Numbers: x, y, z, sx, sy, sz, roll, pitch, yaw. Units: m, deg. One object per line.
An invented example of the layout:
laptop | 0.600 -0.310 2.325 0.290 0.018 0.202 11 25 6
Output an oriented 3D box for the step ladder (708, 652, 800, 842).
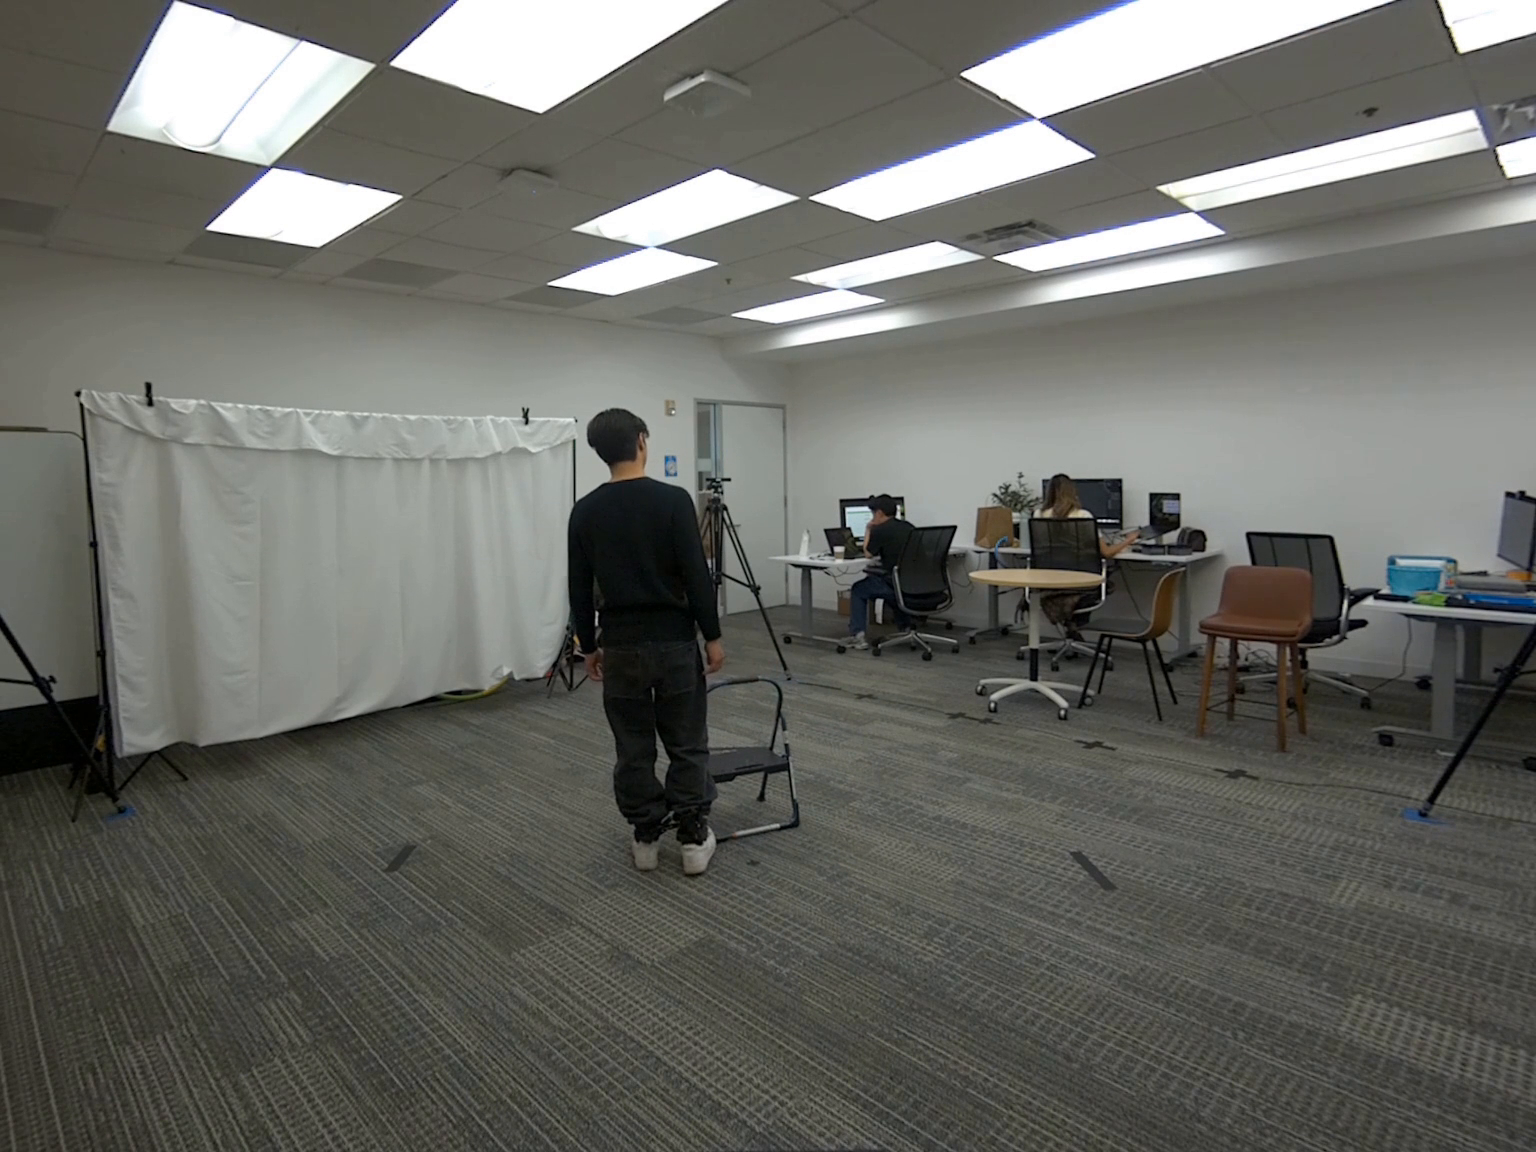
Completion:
step ladder | -0.134 0.697 3.475 0.421 0.604 0.358 -3 4 -27
